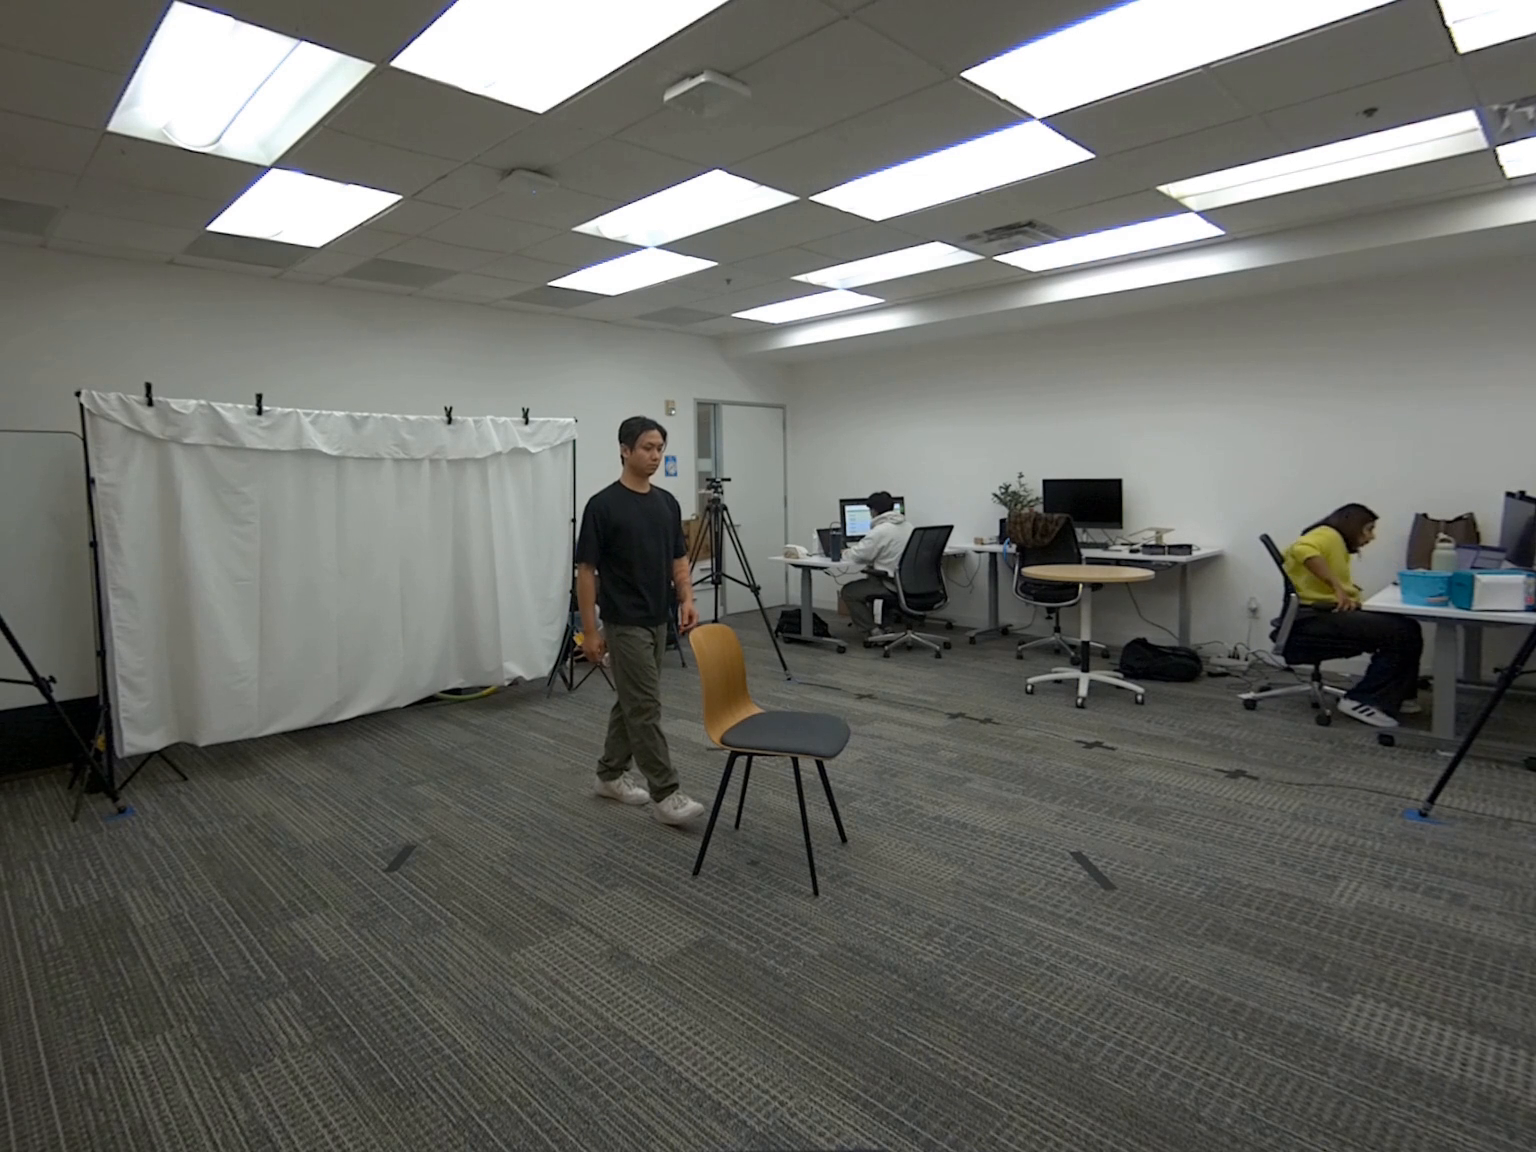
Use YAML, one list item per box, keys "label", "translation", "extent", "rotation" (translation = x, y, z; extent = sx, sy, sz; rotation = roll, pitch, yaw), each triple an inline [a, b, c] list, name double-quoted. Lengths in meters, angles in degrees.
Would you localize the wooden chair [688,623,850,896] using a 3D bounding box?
- label: "wooden chair"
  translation: [0.022, 0.612, 3.103]
  extent: [0.533, 0.876, 0.470]
  rotation: [-4, 2, 20]
